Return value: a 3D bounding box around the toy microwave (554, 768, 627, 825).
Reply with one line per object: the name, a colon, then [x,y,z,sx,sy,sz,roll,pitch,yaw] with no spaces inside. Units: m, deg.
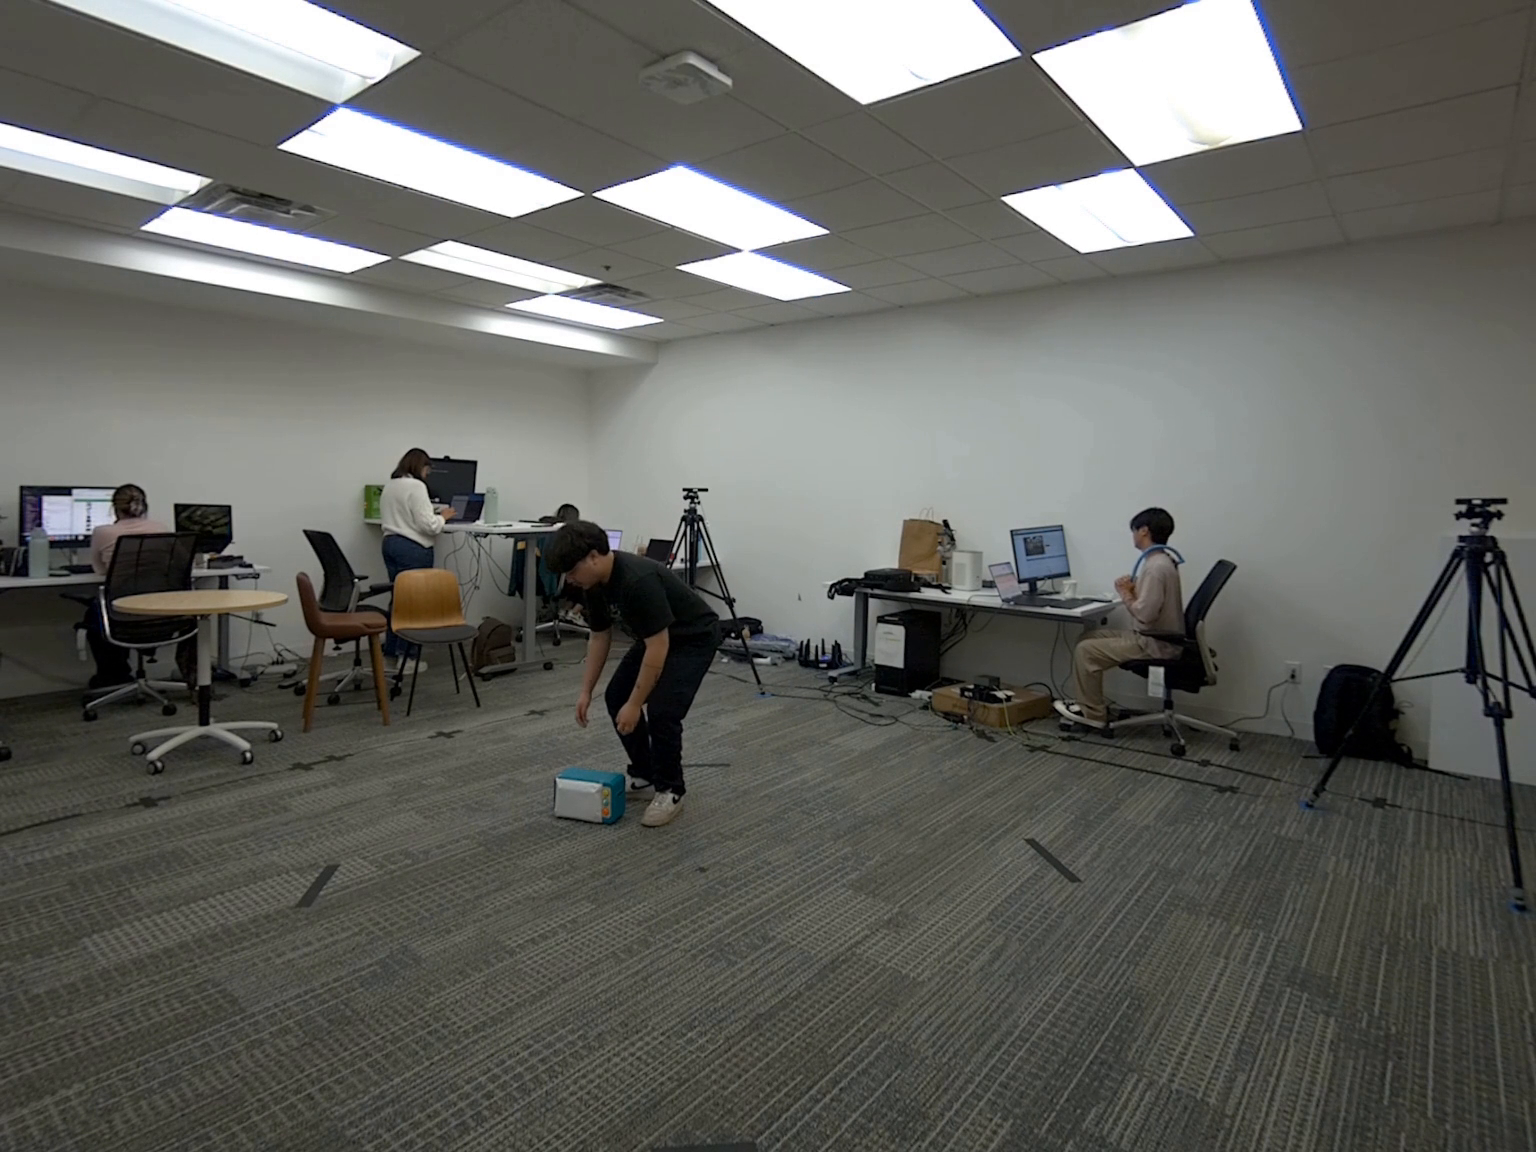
toy microwave: [-0.768,0.924,3.580,0.291,0.184,0.150,2,3,17]
